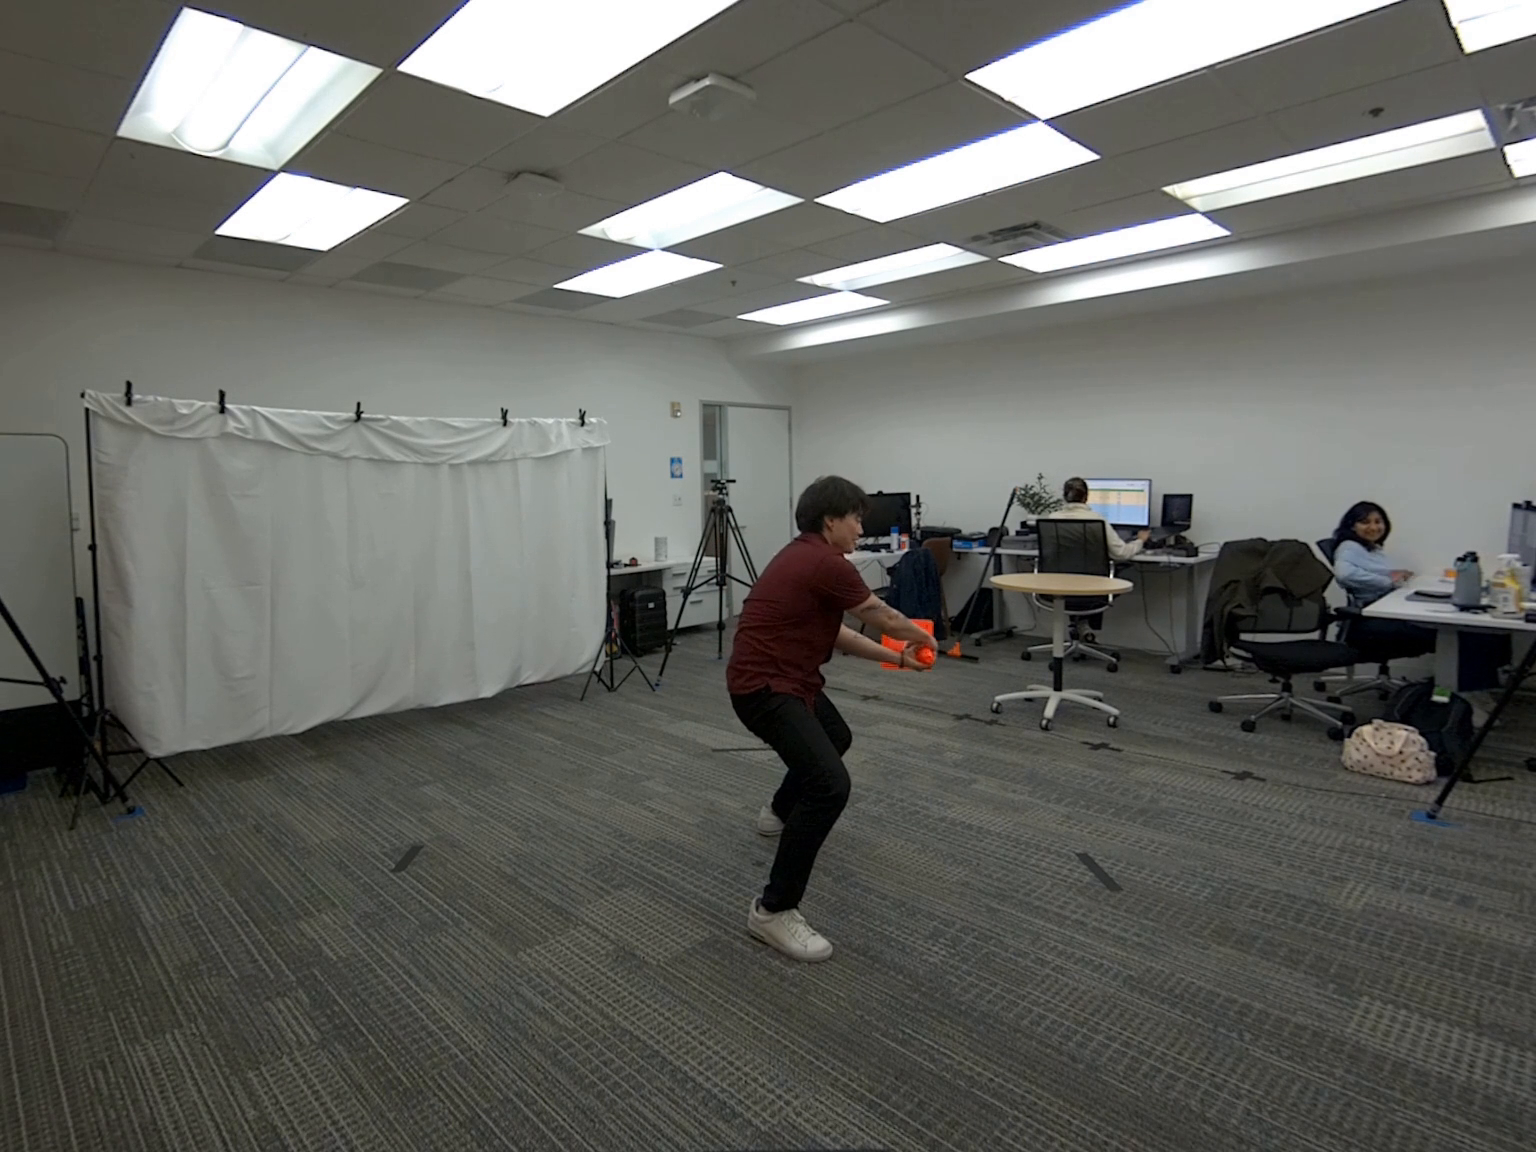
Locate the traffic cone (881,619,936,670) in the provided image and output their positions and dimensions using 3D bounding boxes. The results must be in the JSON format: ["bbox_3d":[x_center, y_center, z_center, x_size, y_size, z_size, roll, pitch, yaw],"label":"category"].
[{"bbox_3d":[0.554,0.283,3.178,0.205,0.203,0.384,6,3,0],"label":"traffic cone"}]
